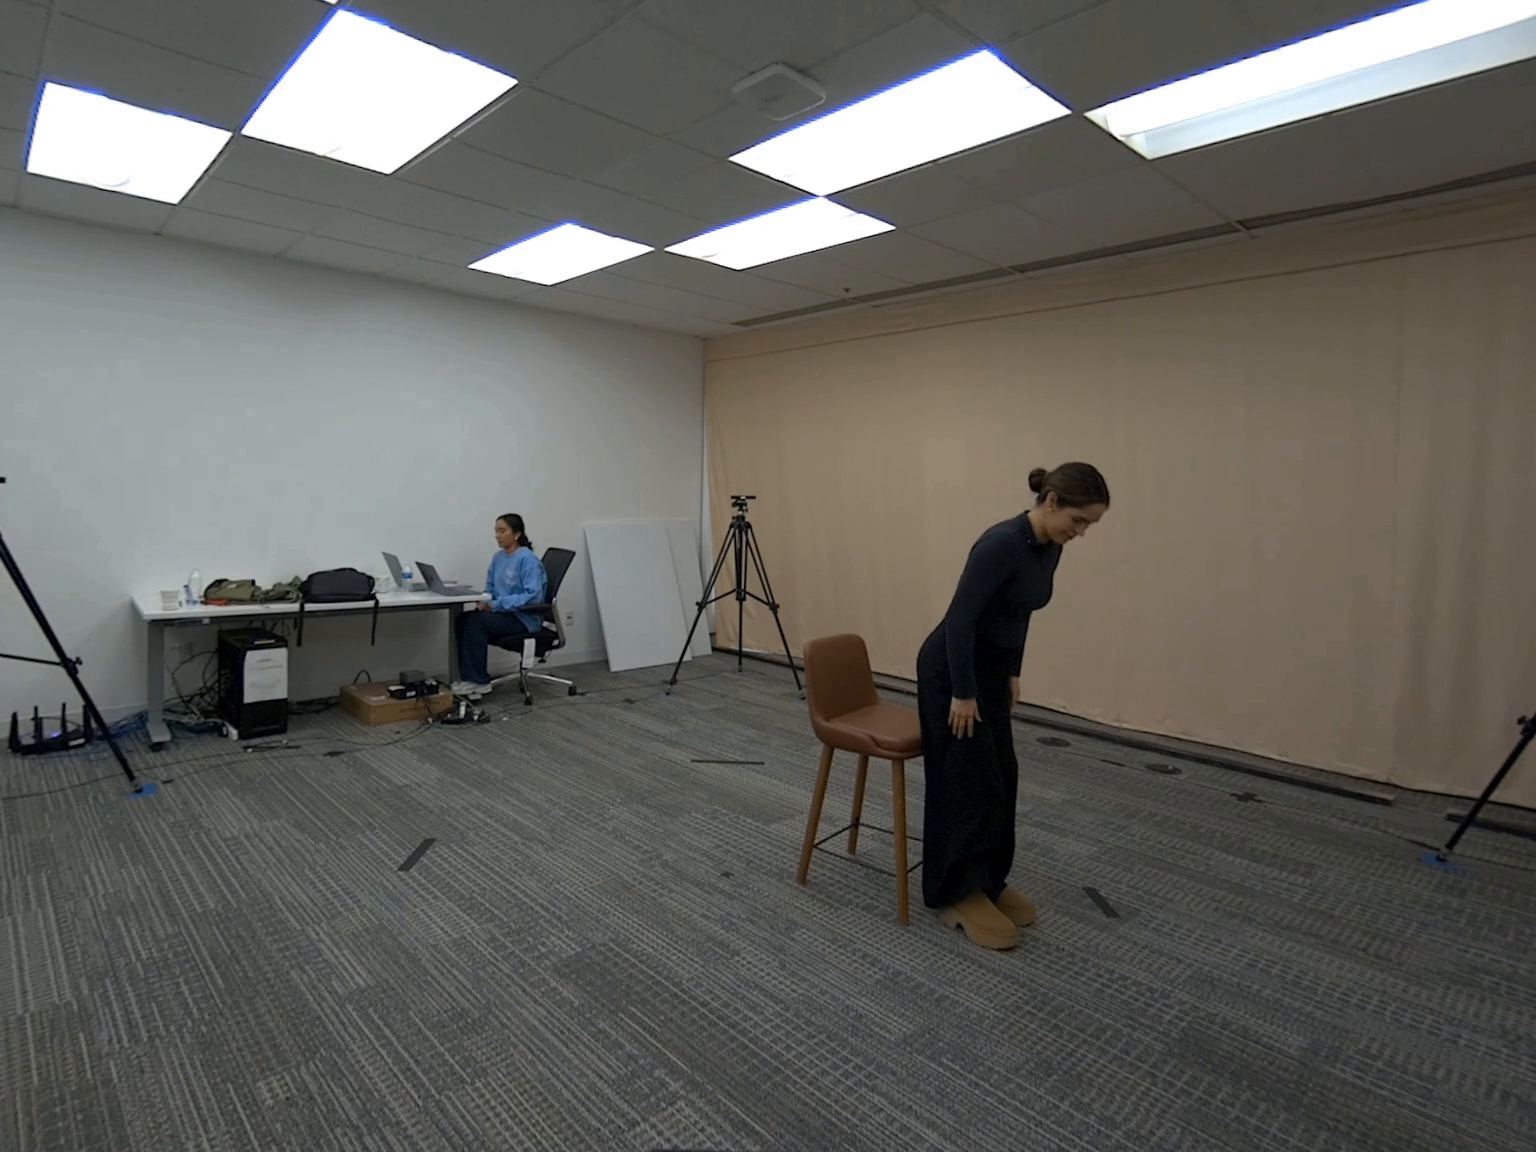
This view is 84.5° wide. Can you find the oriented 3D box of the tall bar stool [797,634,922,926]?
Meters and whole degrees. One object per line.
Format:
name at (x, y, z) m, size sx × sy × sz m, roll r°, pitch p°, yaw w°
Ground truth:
tall bar stool at (0.397, 0.685, 3.034) m, size 0.479 × 0.888 × 0.446 m, roll 3°, pitch 3°, yaw 39°
